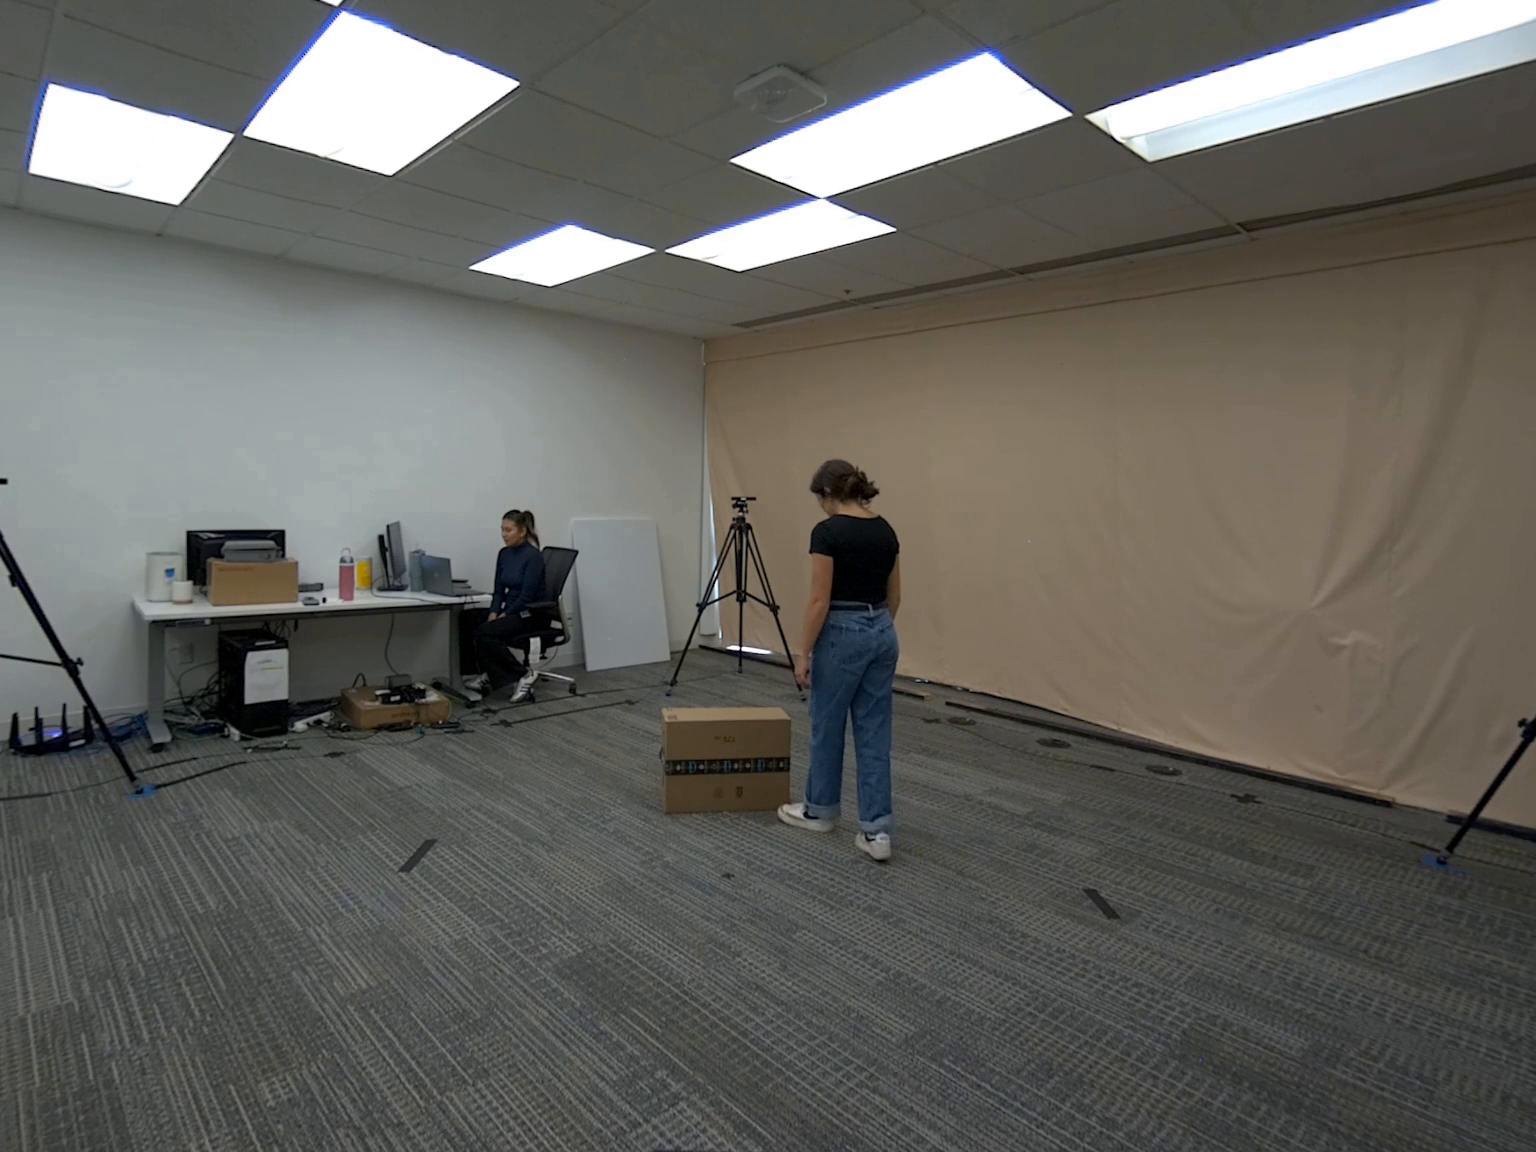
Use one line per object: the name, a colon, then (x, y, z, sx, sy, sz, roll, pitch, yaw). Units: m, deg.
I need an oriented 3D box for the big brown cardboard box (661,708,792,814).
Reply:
big brown cardboard box: (-0.211, 0.831, 3.841, 0.584, 0.416, 0.235, 2, 4, -9)
